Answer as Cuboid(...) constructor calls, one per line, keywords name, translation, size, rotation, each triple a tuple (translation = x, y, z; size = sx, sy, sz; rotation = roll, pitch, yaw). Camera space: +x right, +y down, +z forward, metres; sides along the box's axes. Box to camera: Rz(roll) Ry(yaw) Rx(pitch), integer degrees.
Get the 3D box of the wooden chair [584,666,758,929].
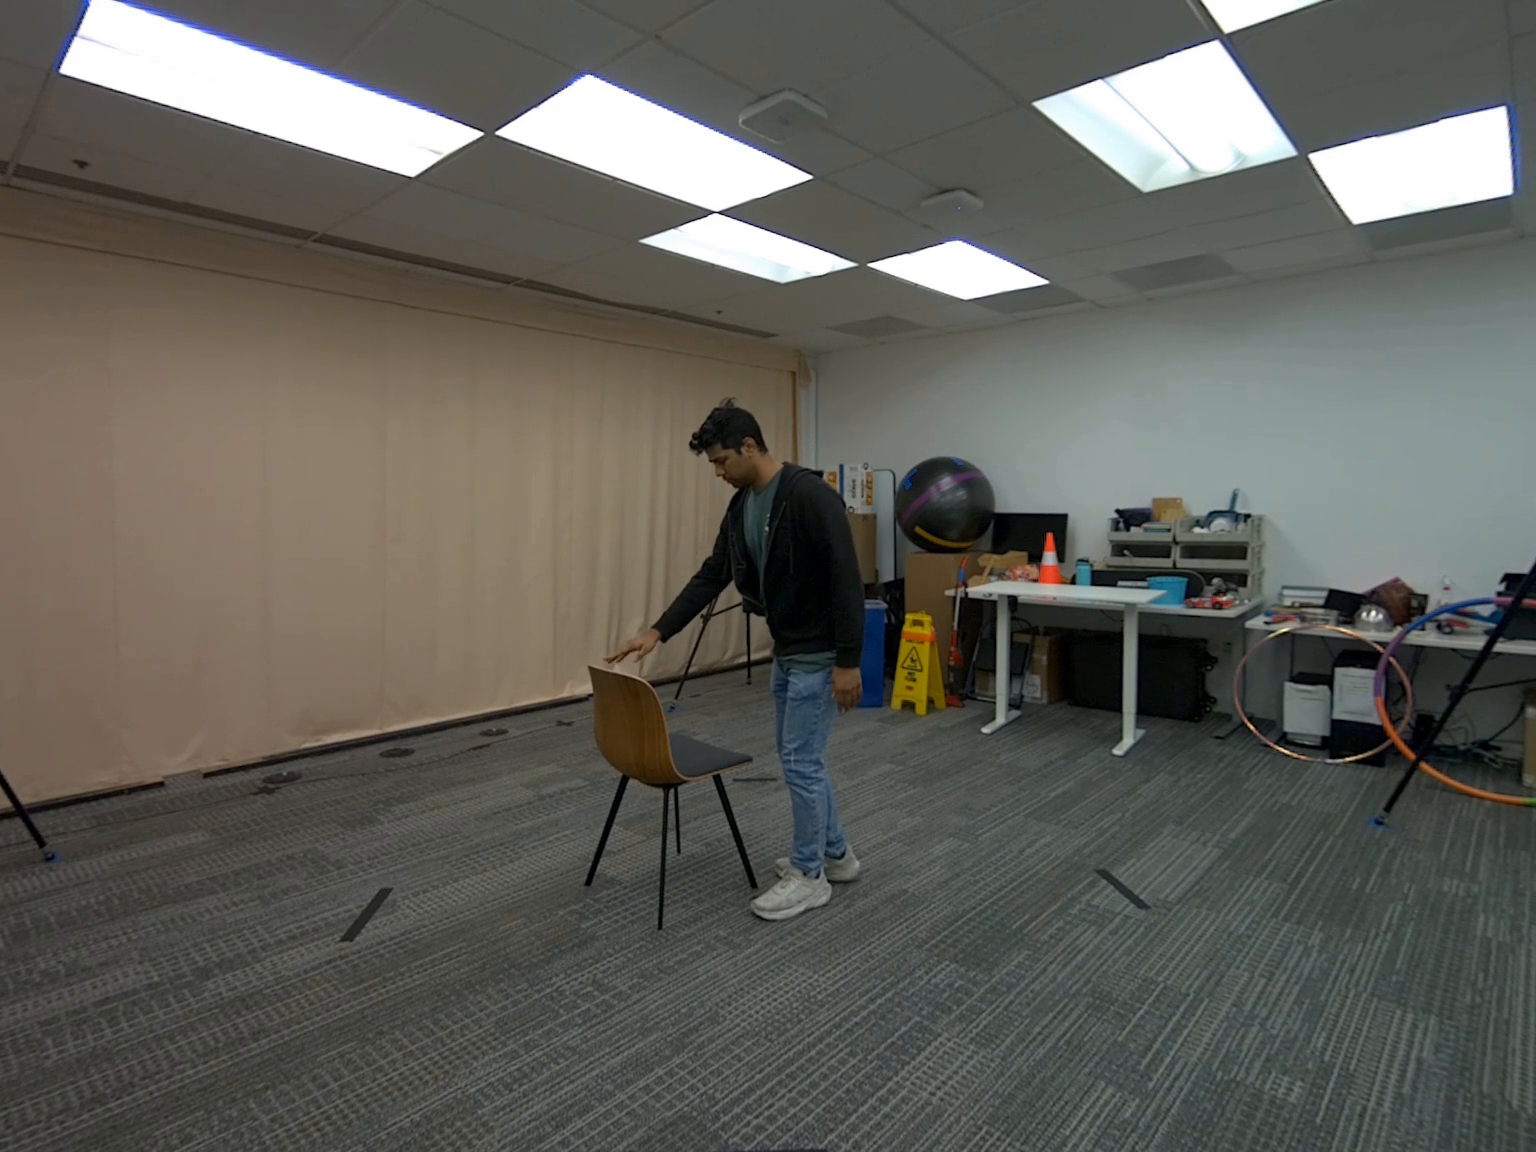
Cuboid(name="wooden chair", translation=(-0.351, 0.717, 3.056), size=(0.508, 0.874, 0.494), rotation=(-9, 8, -43))
